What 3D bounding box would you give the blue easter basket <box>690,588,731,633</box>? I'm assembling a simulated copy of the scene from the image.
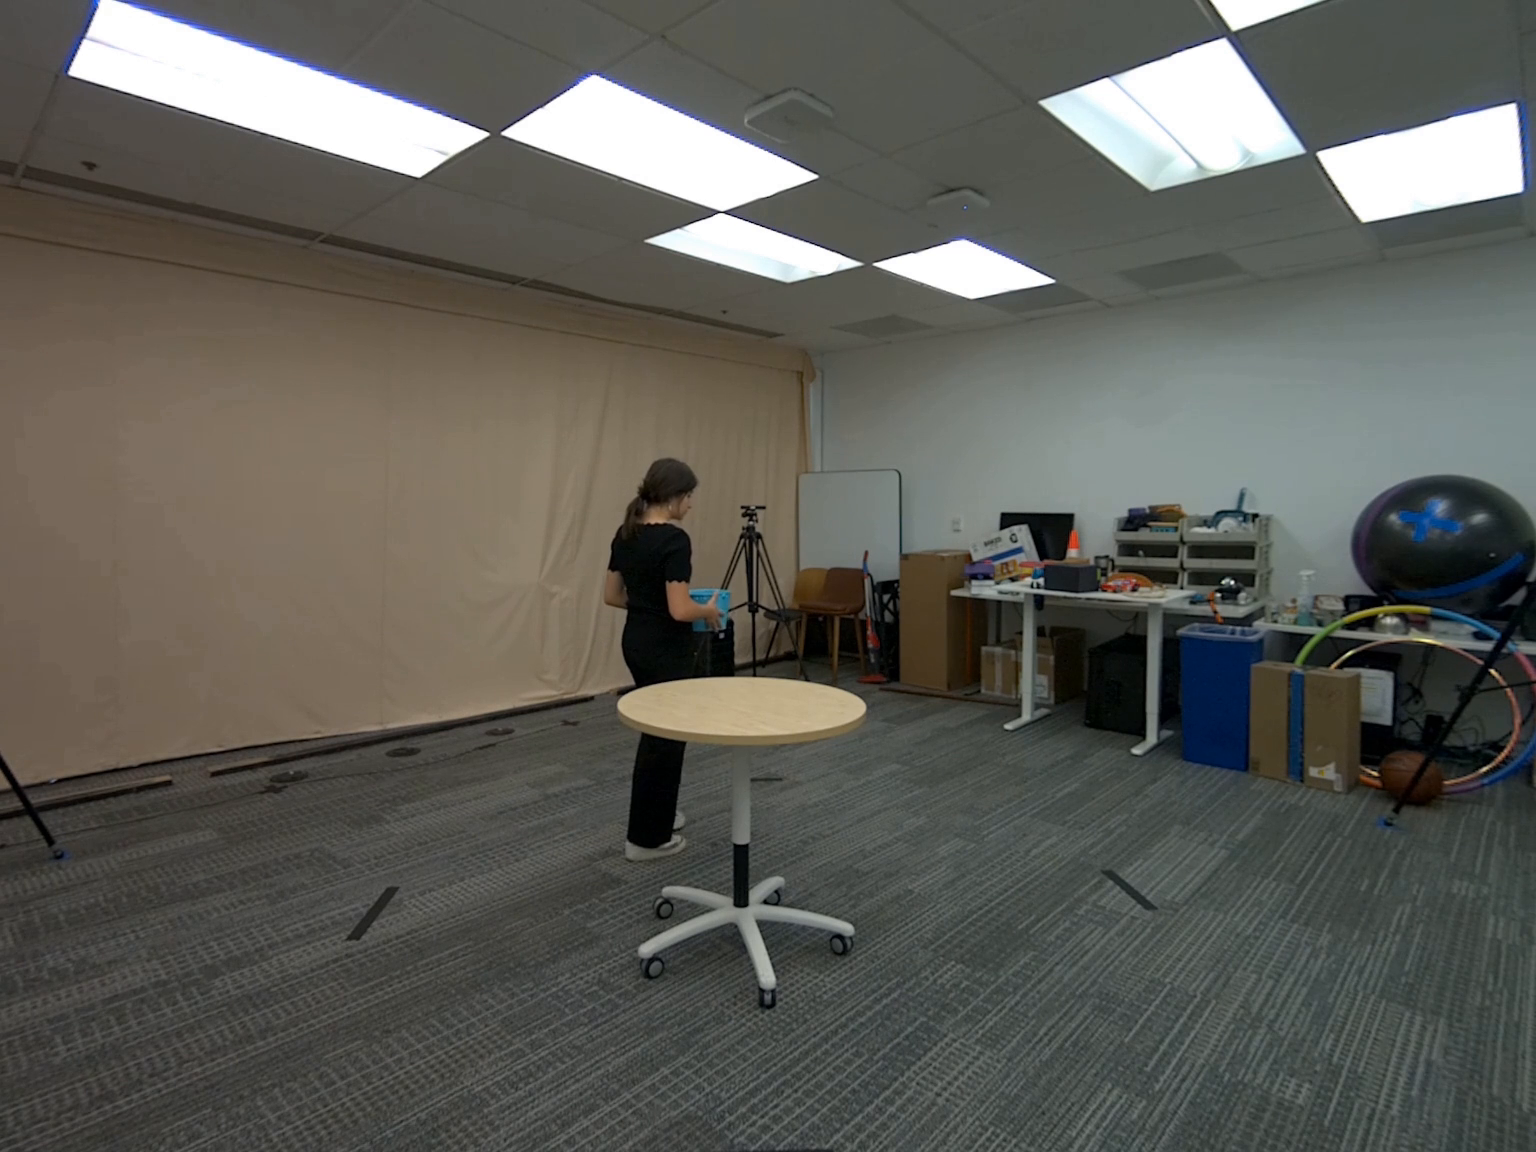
[{"bbox_3d":[-0.259,0.141,3.513,0.243,0.155,0.244,-3,3,-2],"label":"blue easter basket"}]
